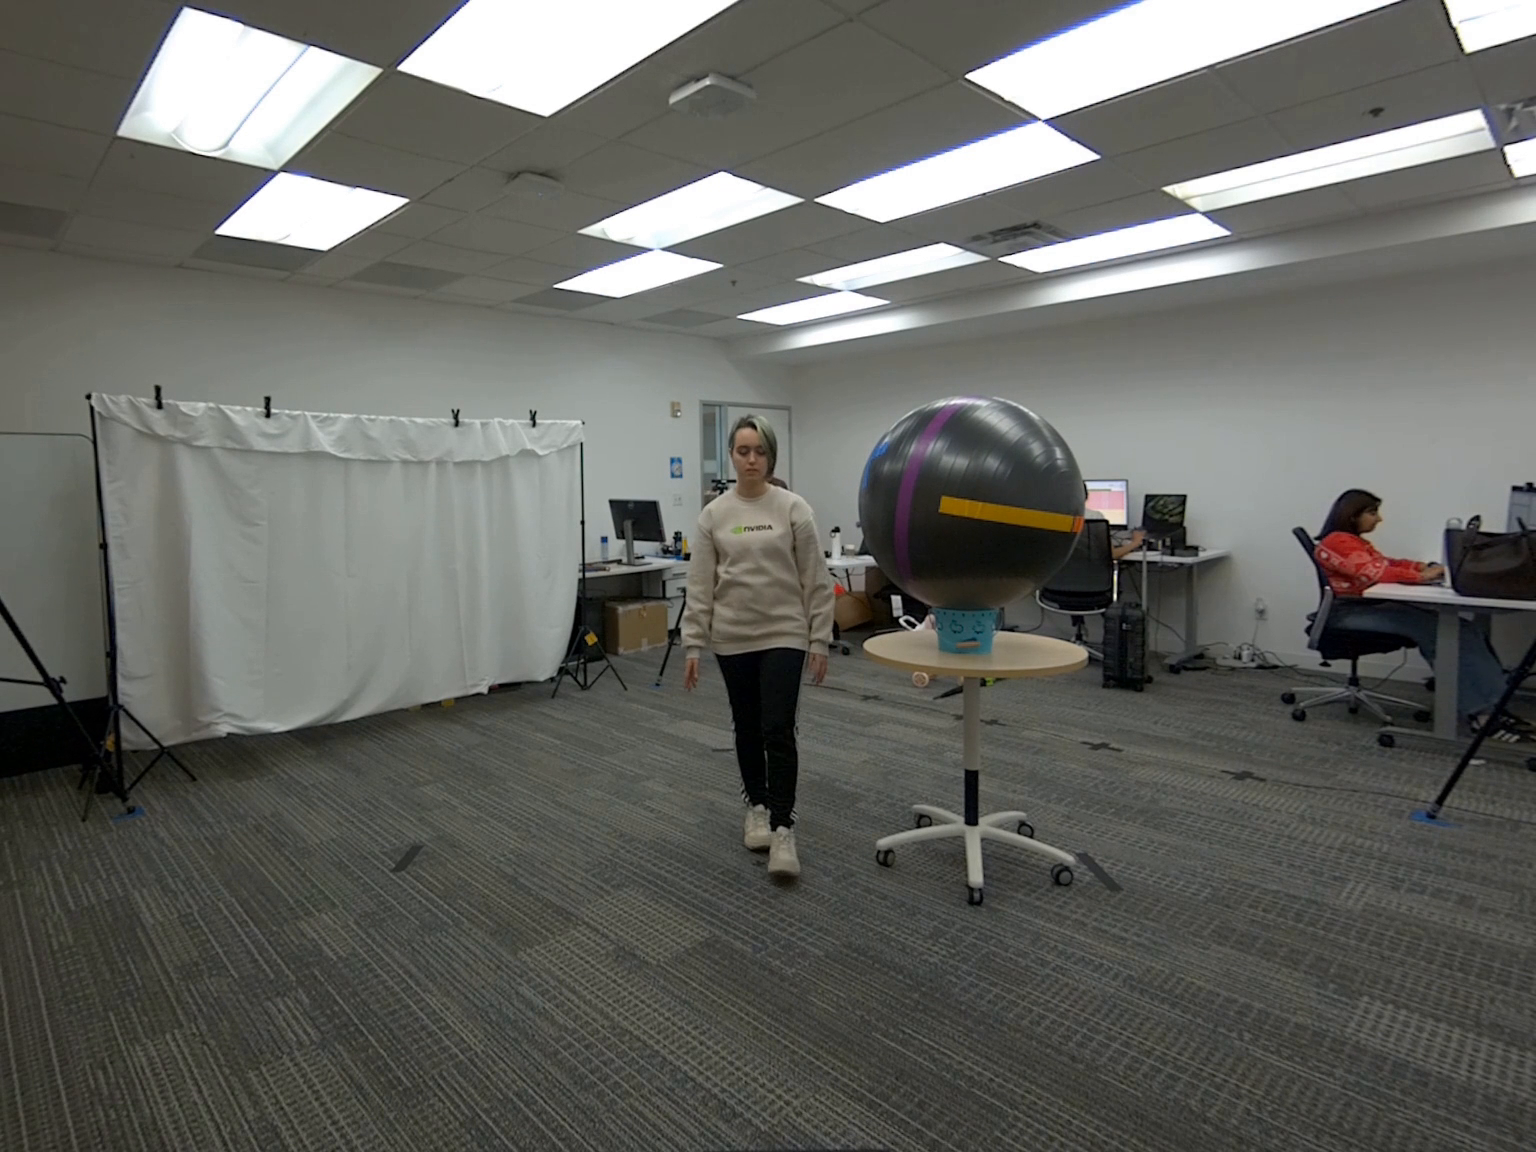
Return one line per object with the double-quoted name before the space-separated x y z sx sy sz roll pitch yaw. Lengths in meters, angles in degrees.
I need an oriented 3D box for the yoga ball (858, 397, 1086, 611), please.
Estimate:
"yoga ball" 0.702 -0.247 2.989 0.757 0.755 0.762 -1 5 -2
